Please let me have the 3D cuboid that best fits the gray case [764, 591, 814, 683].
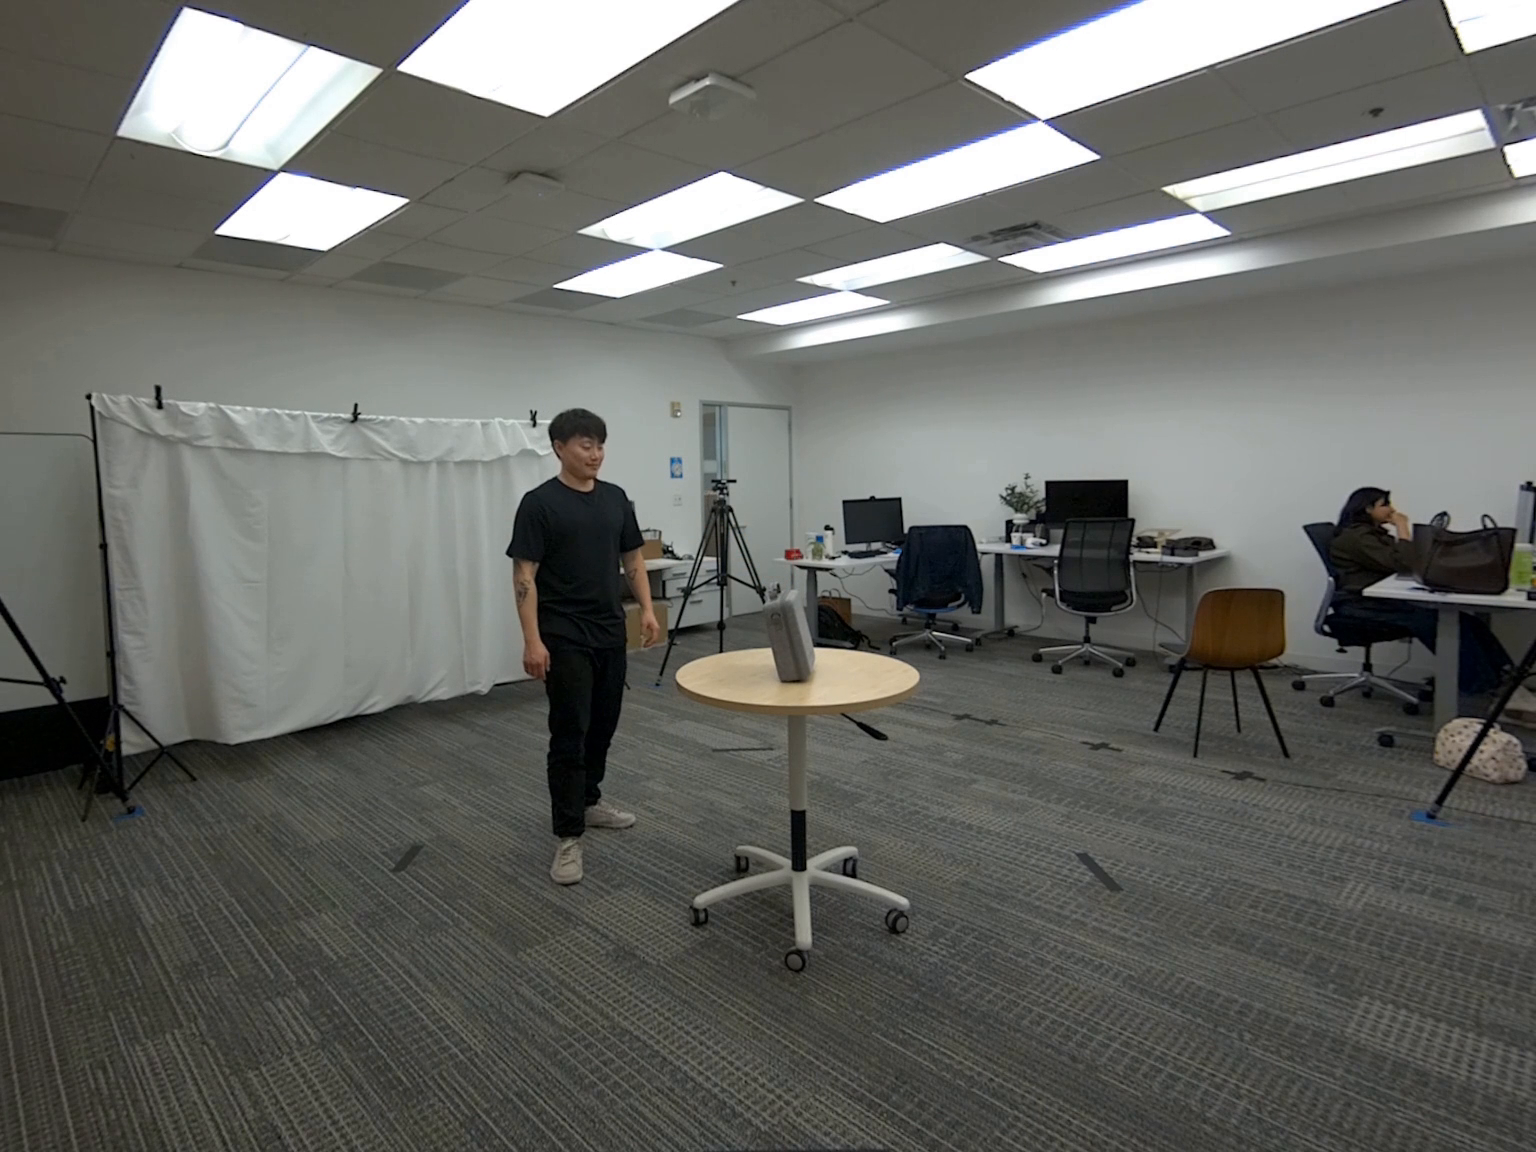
[{"bbox_3d":[0.071,0.176,2.684,0.105,0.260,0.256,-11,2,5],"label":"gray case"}]
